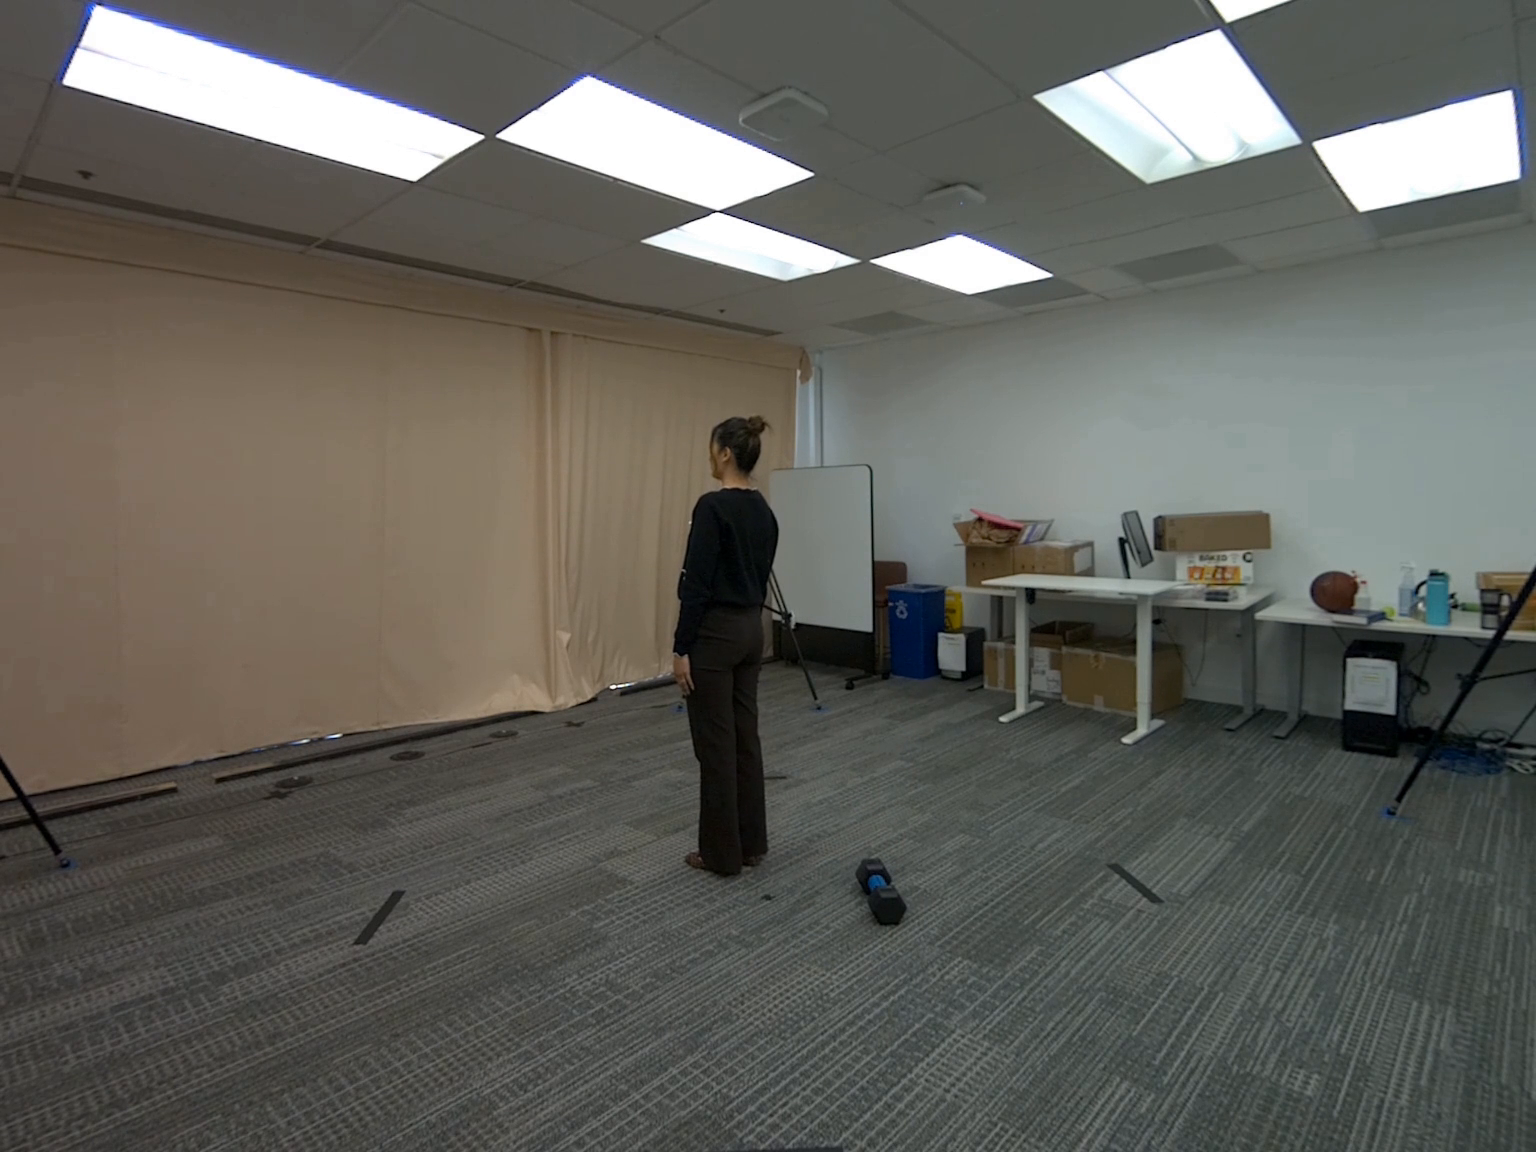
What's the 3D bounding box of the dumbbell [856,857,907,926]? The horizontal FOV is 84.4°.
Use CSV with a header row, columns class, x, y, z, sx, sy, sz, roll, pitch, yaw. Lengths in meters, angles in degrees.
class,x,y,z,sx,sy,sz,roll,pitch,yaw
dumbbell,0.392,1.086,2.908,0.108,0.123,0.295,27,2,-6
